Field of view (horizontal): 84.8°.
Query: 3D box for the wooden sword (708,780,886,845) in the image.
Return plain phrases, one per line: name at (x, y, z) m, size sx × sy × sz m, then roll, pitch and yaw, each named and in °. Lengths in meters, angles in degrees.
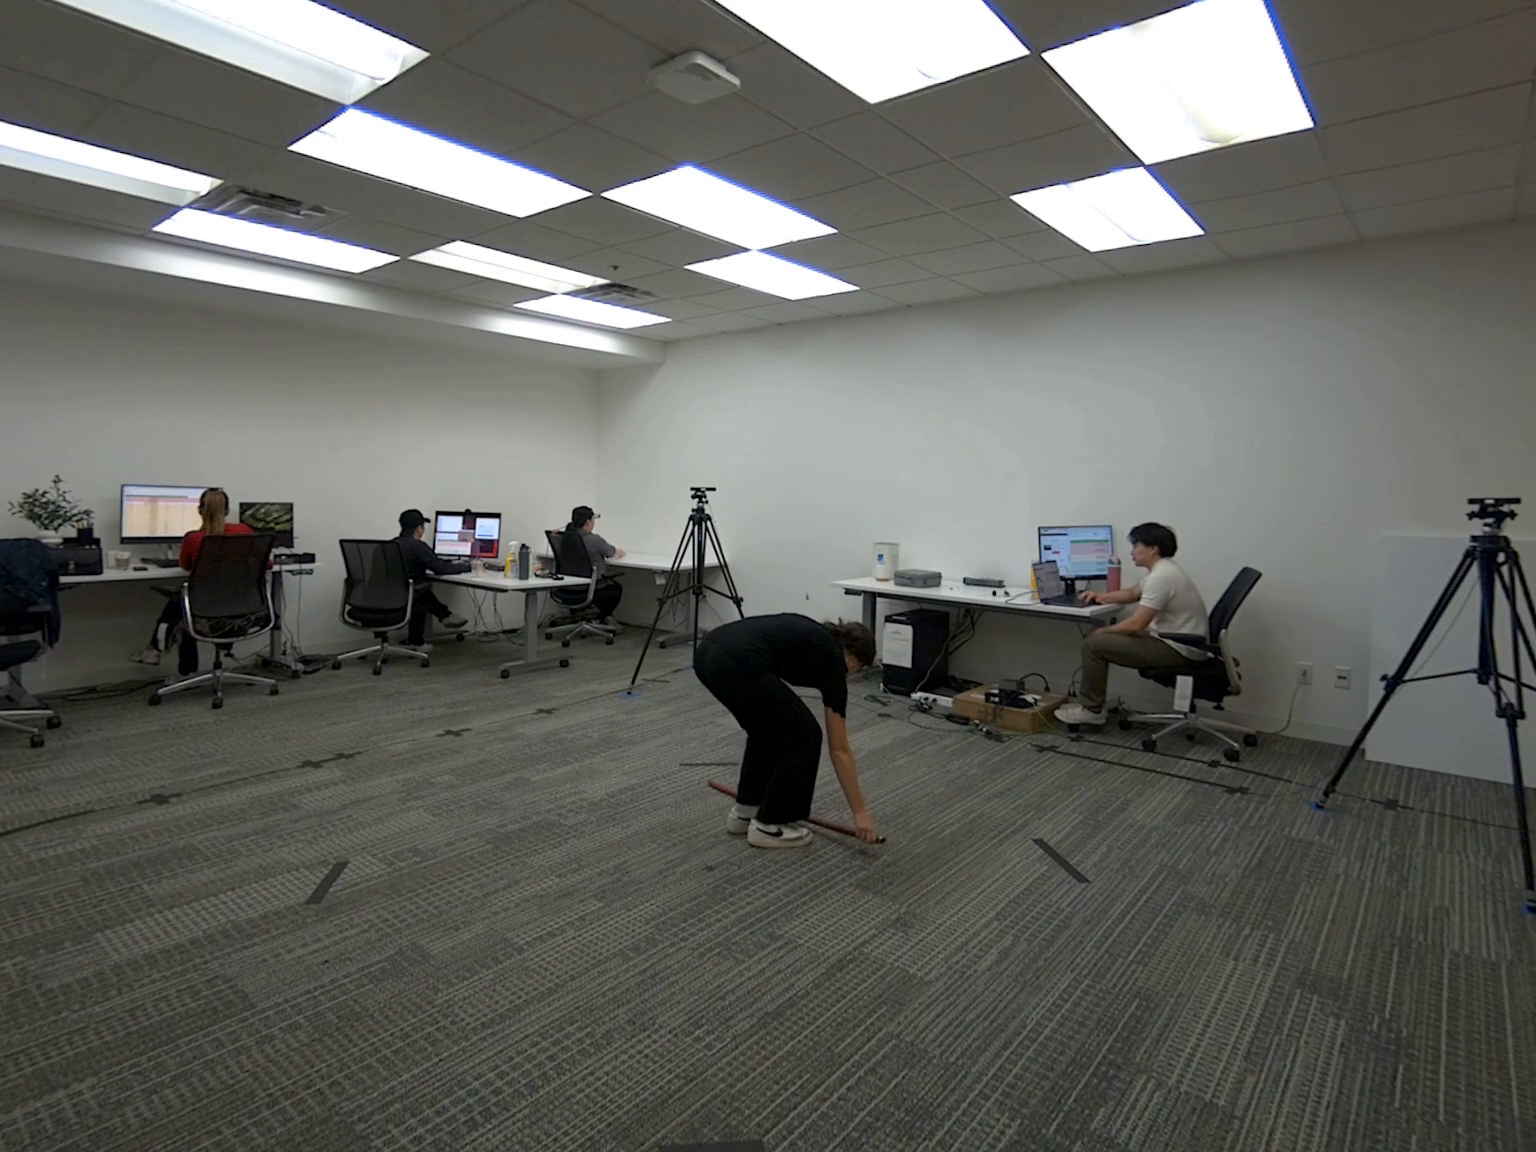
wooden sword at (0.055, 0.985, 3.611) m, size 1.058 × 0.051 × 0.023 m, roll 4°, pitch -38°, yaw 47°
